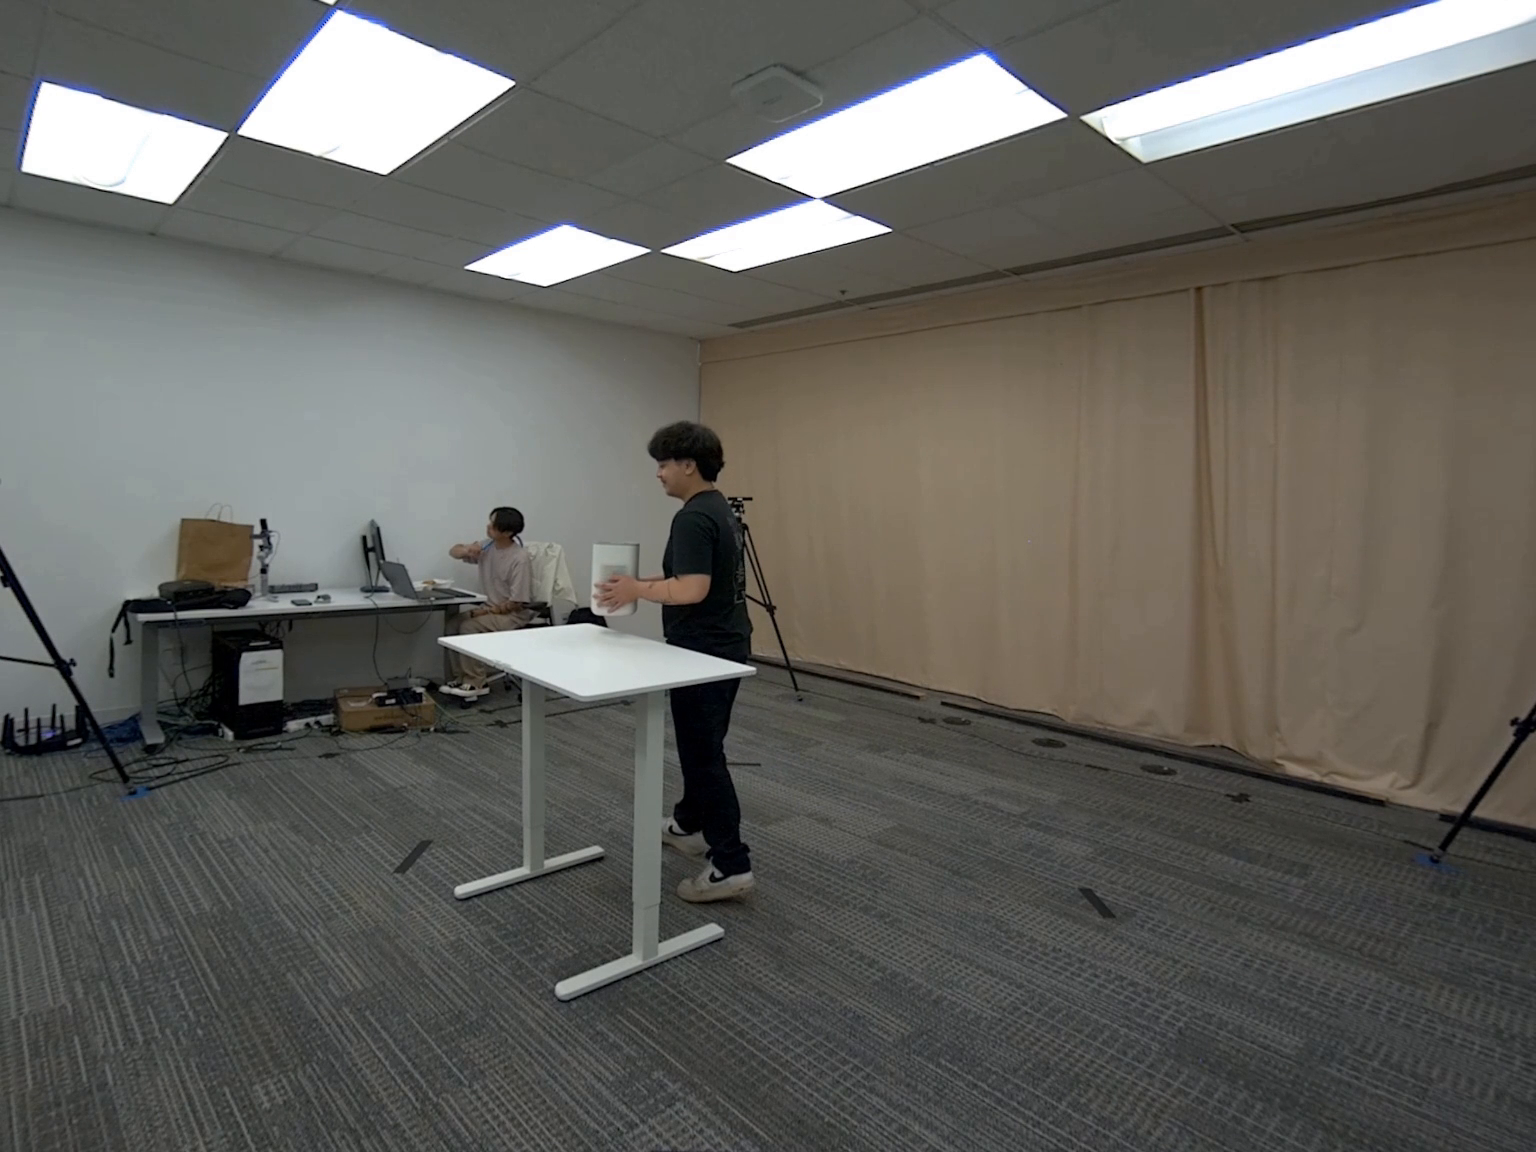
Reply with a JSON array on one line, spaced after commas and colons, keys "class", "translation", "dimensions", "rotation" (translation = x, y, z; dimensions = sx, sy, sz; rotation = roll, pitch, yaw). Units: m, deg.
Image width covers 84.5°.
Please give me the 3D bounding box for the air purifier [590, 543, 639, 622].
[{"class": "air purifier", "translation": [-0.568, 0.011, 3.111], "dimensions": [0.171, 0.265, 0.172], "rotation": [2, 4, -5]}]
